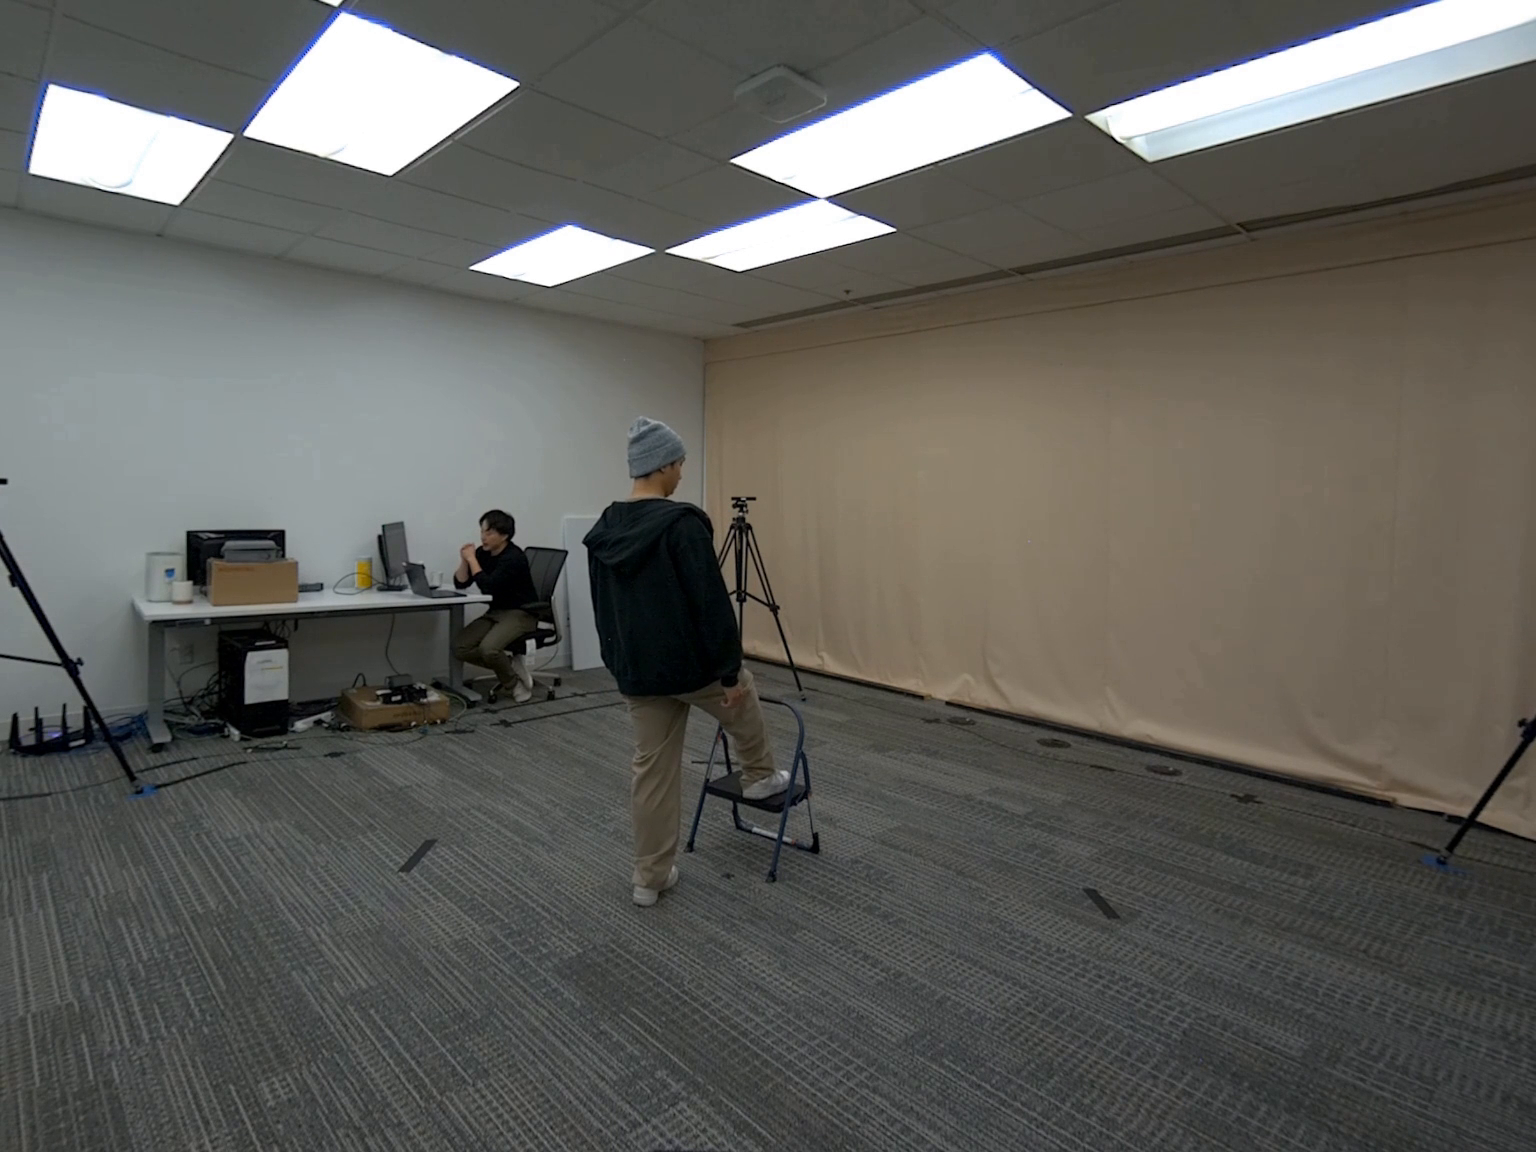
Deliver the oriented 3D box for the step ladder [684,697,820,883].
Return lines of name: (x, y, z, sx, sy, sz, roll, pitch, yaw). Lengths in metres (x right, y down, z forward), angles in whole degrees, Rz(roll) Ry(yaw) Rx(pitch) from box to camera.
step ladder: (-0.056, 0.788, 3.308, 0.441, 0.605, 0.342, 4, 4, 36)
